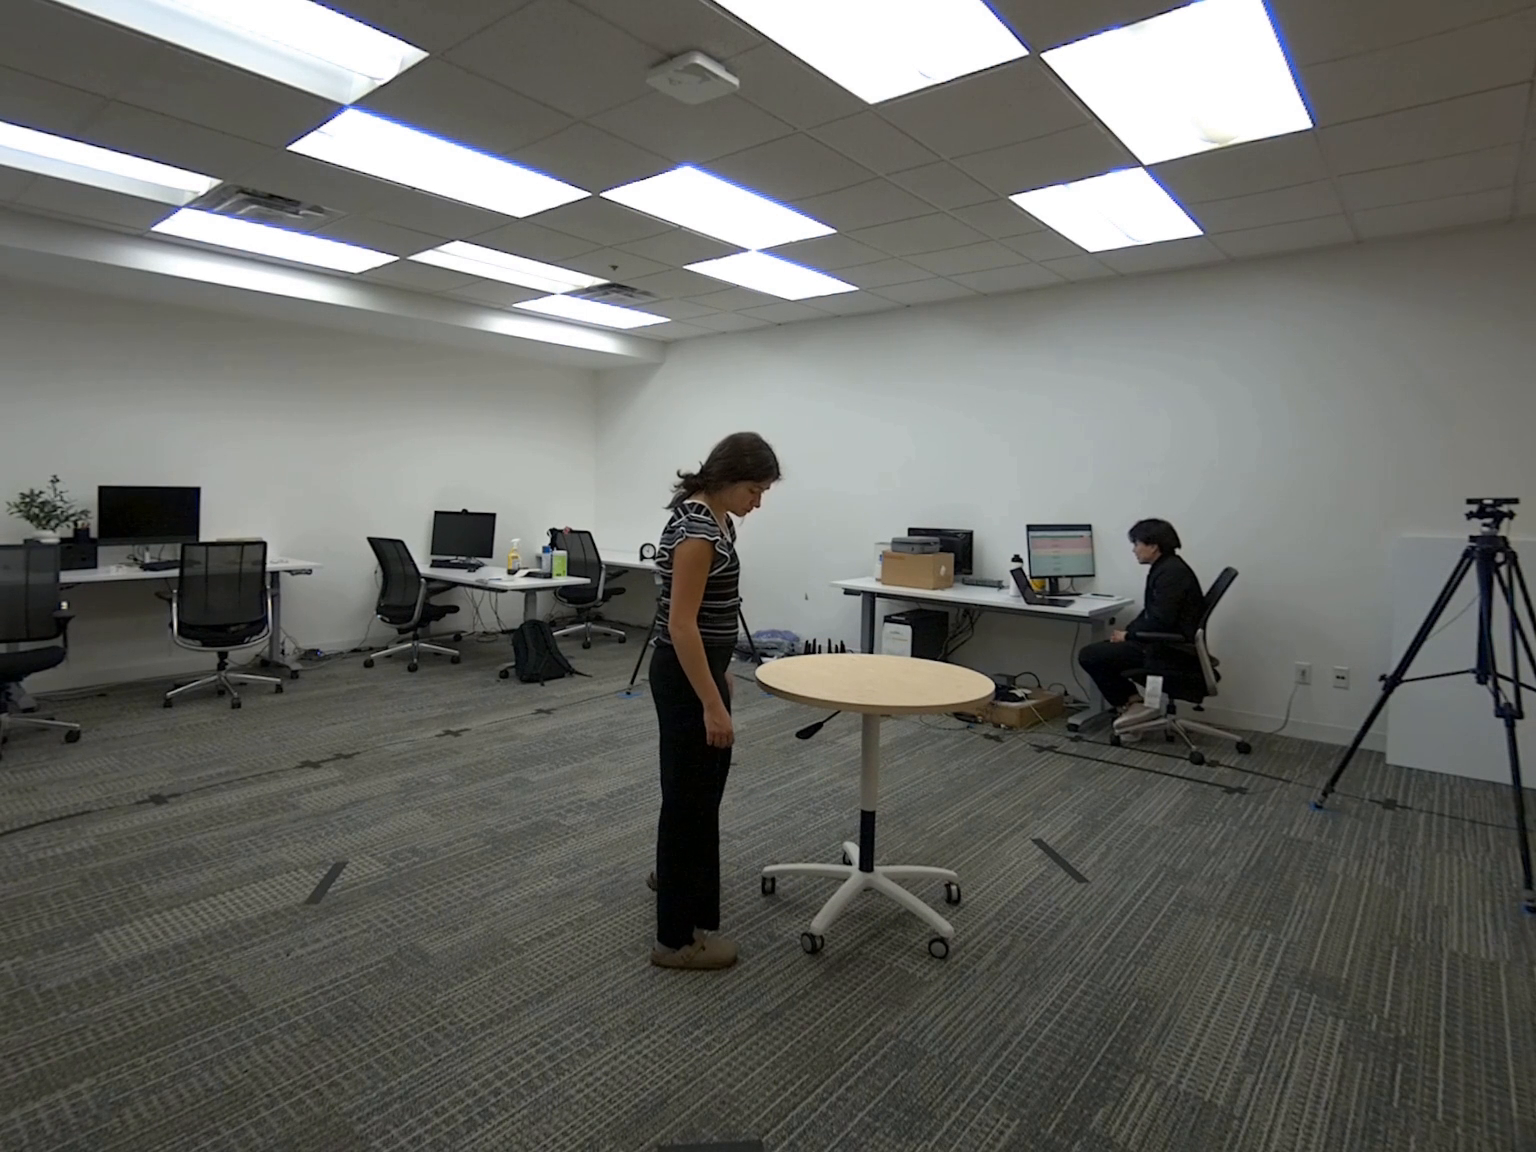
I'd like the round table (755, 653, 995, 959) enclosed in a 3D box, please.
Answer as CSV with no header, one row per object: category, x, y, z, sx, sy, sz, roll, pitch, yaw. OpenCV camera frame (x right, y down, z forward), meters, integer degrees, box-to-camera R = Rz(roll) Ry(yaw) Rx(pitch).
round table,0.339,0.716,2.804,0.784,0.784,0.789,1,4,-2
